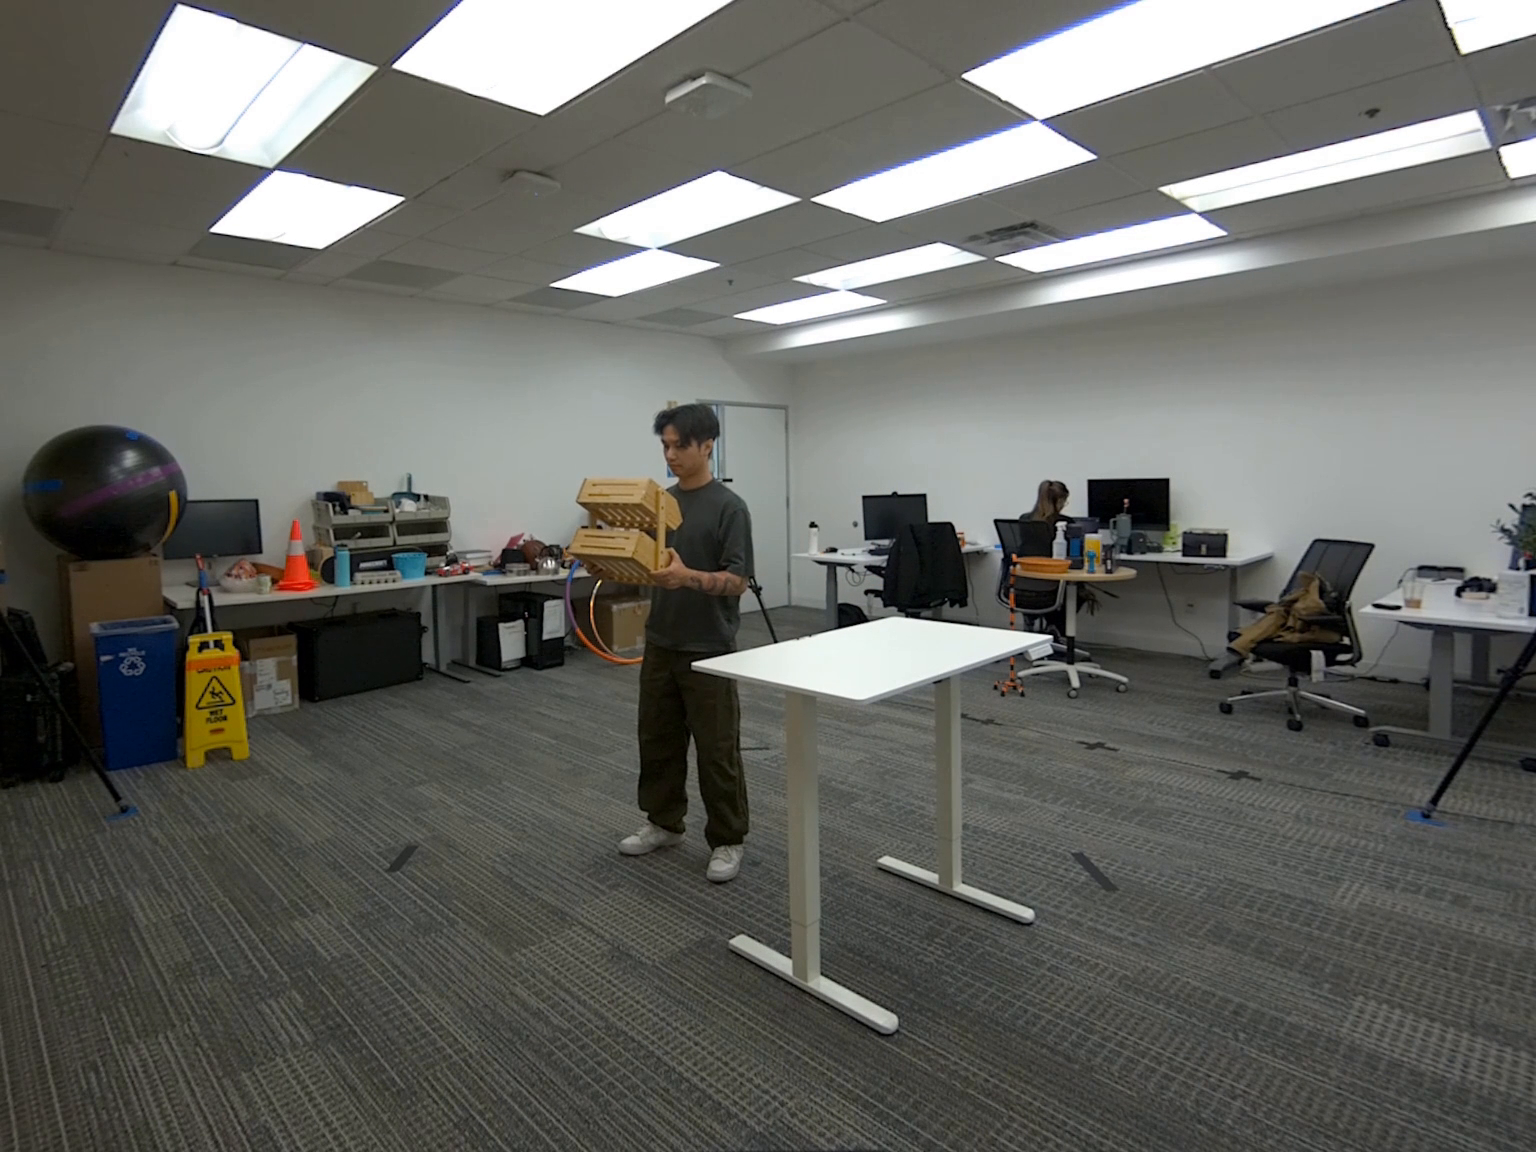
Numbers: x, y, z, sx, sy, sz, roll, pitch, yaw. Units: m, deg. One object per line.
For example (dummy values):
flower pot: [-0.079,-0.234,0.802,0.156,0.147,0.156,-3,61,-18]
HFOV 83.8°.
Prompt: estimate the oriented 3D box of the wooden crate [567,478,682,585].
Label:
wooden crate: [-0.467,-0.147,2.904,0.334,0.276,0.290,4,-23,35]
